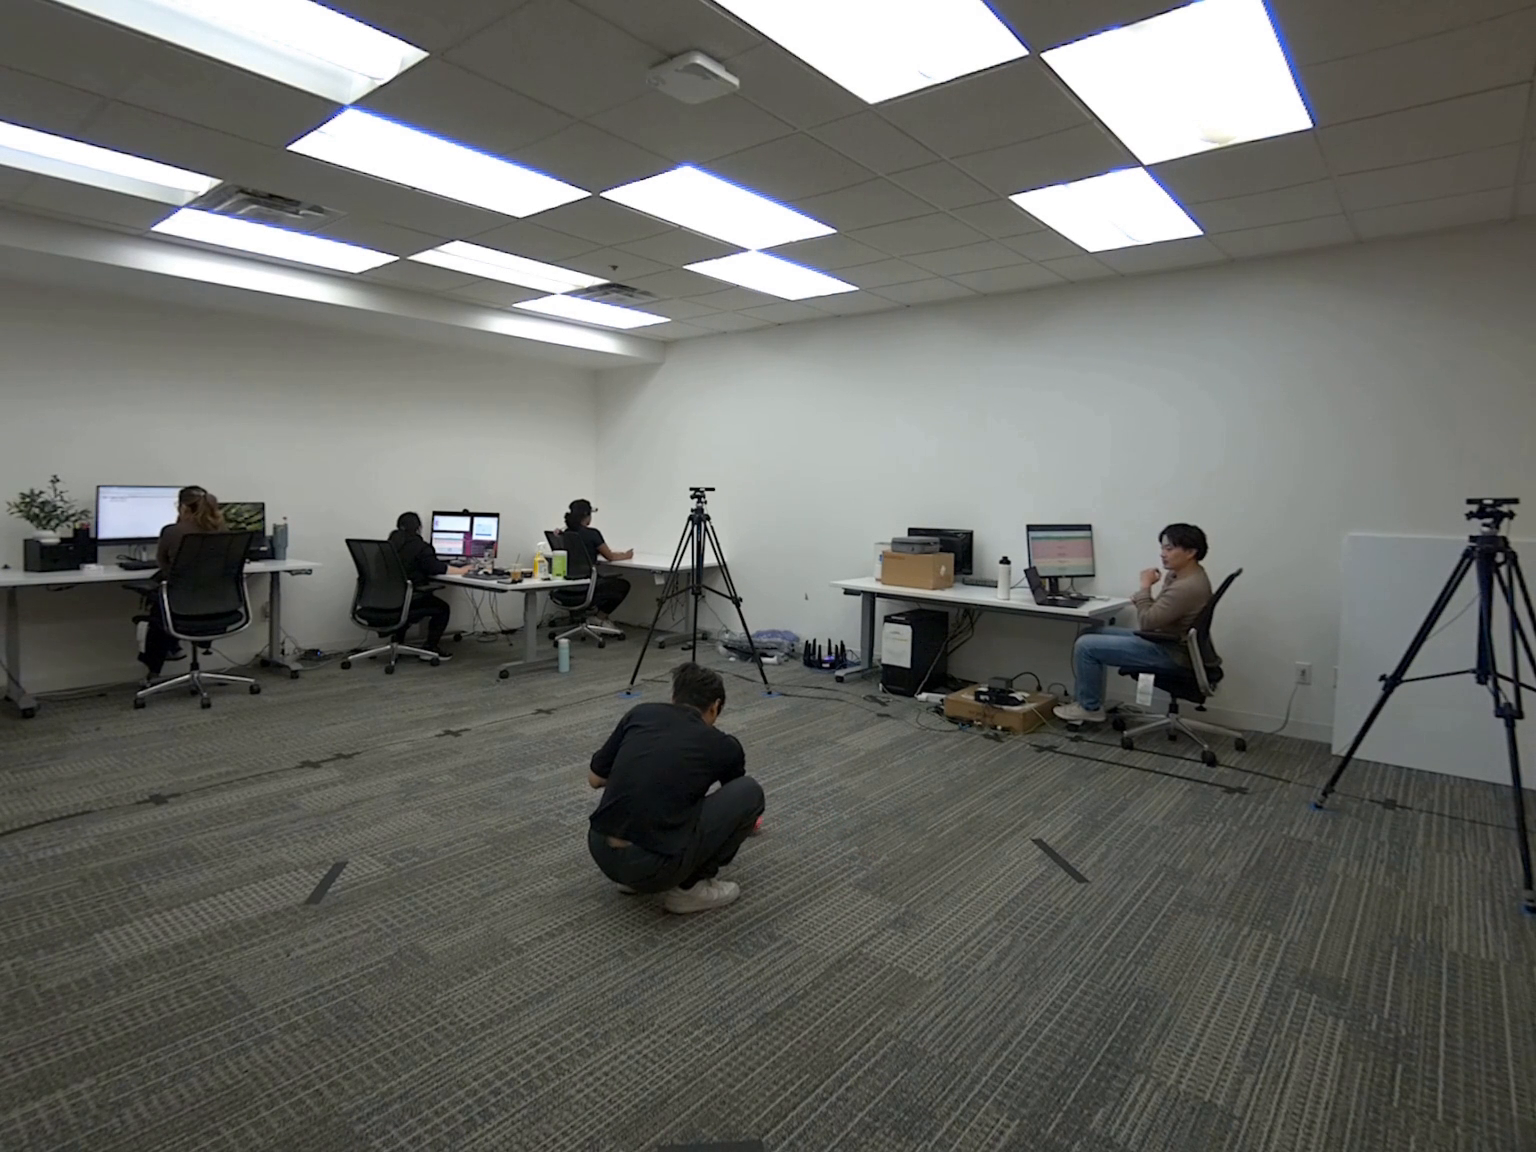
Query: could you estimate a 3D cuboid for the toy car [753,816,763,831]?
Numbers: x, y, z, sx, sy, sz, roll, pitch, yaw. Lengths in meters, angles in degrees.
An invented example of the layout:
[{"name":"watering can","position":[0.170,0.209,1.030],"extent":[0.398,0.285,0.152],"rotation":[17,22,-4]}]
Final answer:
[{"name":"toy car","position":[-0.152,0.998,3.455],"extent":[0.256,0.083,0.130],"rotation":[-10,3,6]}]
